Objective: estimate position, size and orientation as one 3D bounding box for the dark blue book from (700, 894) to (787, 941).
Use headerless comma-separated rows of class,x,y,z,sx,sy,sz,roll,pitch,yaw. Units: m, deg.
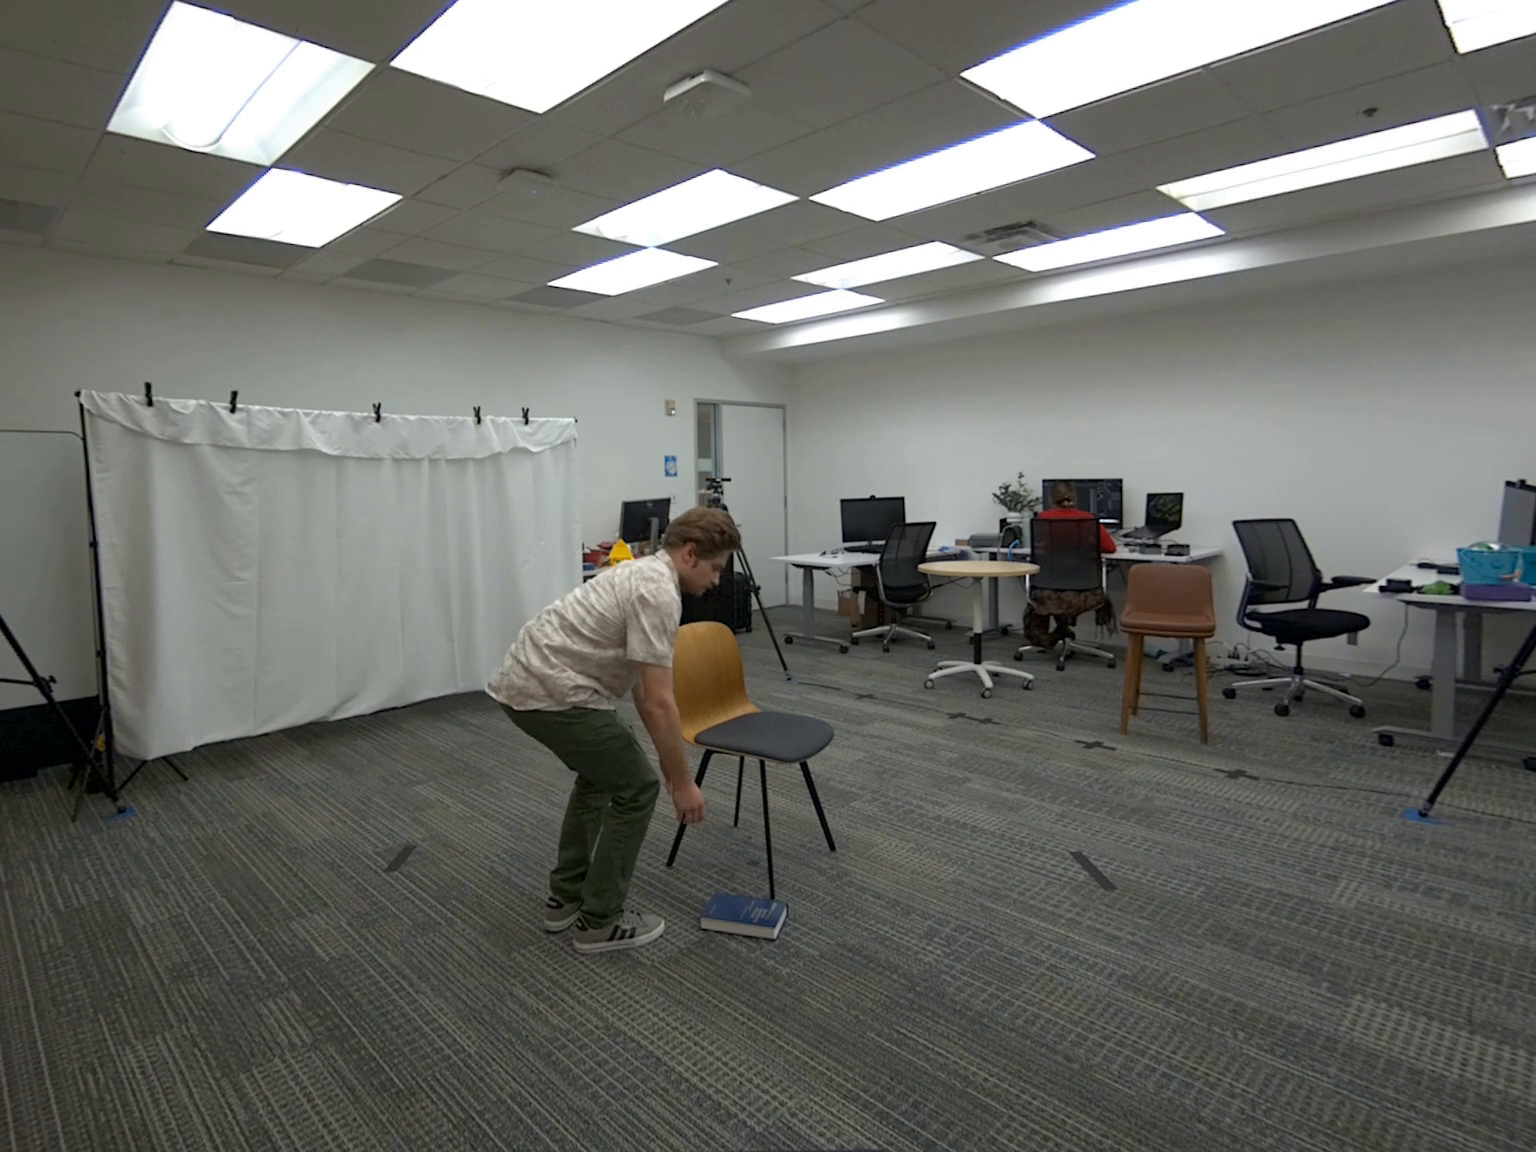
dark blue book,-0.073,1.064,2.685,0.249,0.045,0.161,1,8,17
